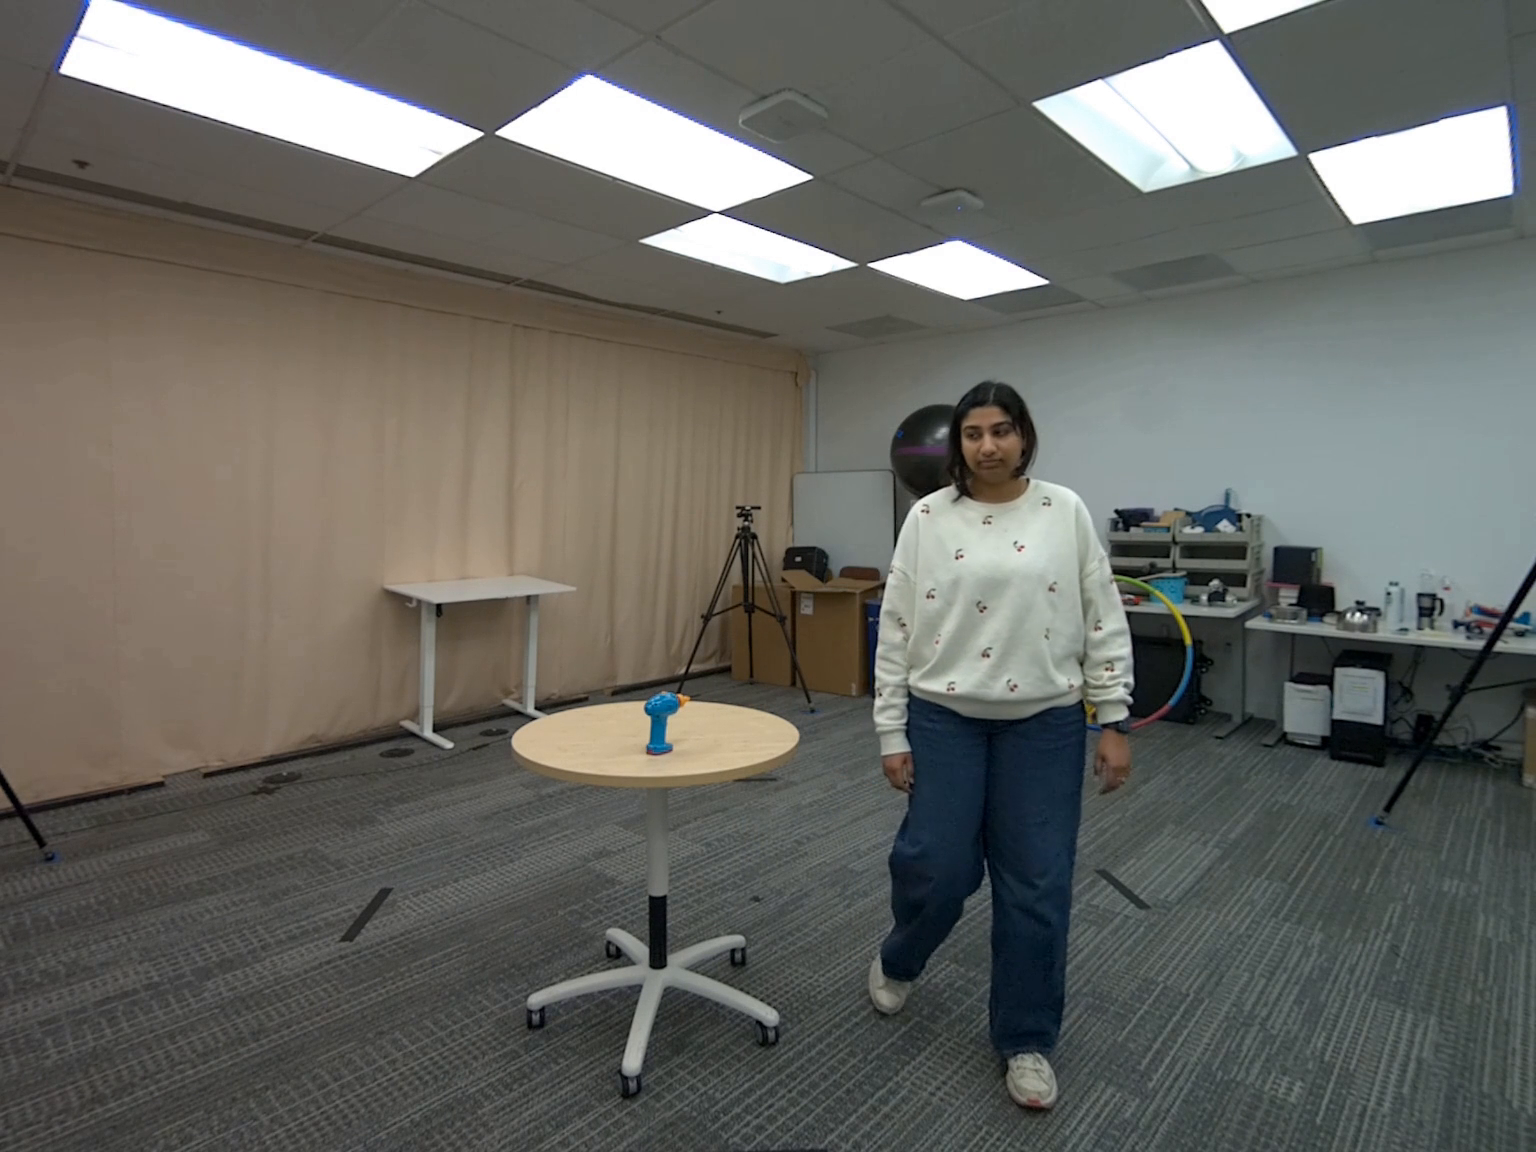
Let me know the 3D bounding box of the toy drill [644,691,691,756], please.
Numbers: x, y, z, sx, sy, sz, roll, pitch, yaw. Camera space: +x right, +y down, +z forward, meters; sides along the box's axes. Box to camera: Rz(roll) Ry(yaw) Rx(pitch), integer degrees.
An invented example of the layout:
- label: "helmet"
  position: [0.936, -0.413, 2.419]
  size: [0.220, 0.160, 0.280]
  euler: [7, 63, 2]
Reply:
- label: "toy drill"
  position: [-0.249, 0.363, 2.107]
  size: [0.063, 0.146, 0.165]
  euler: [-1, 3, 27]
